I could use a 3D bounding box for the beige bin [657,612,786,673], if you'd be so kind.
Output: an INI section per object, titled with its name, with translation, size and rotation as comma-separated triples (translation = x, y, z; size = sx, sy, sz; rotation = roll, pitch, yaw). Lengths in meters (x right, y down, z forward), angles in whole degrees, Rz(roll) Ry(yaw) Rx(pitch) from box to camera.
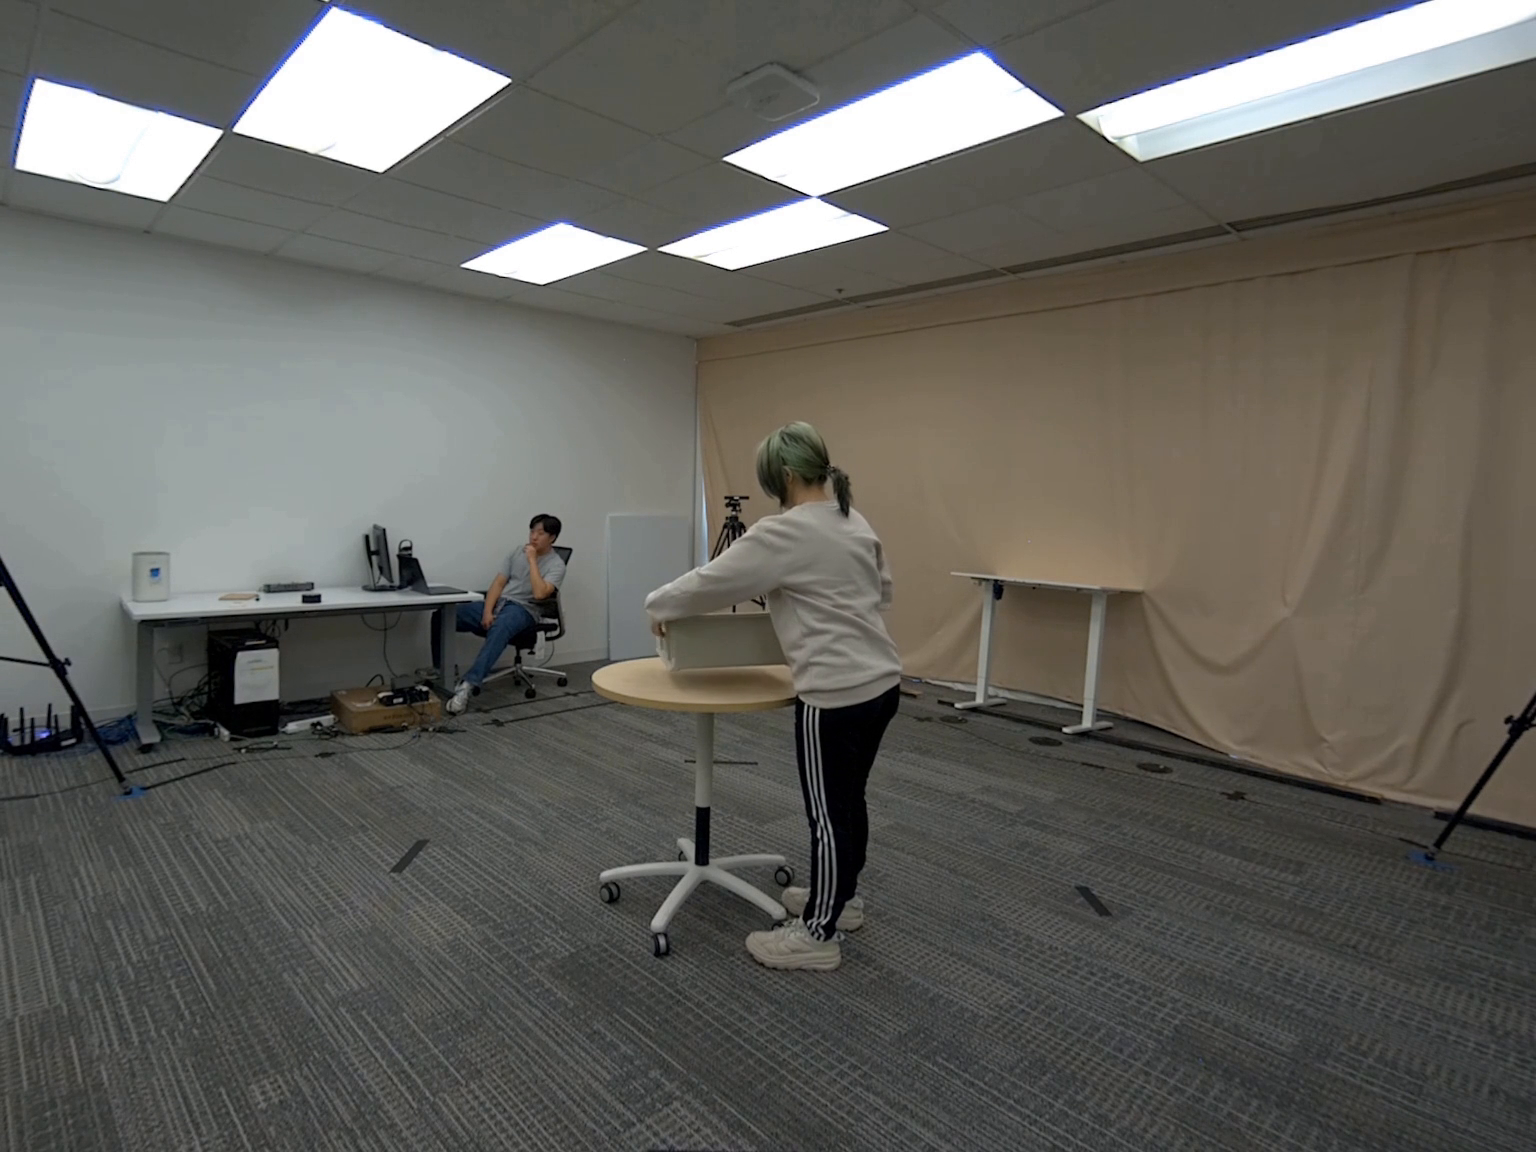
[beige bin]
translation = -0.157, 0.191, 2.812
size = 0.419, 0.188, 0.381
rotation = -2, 6, -9
